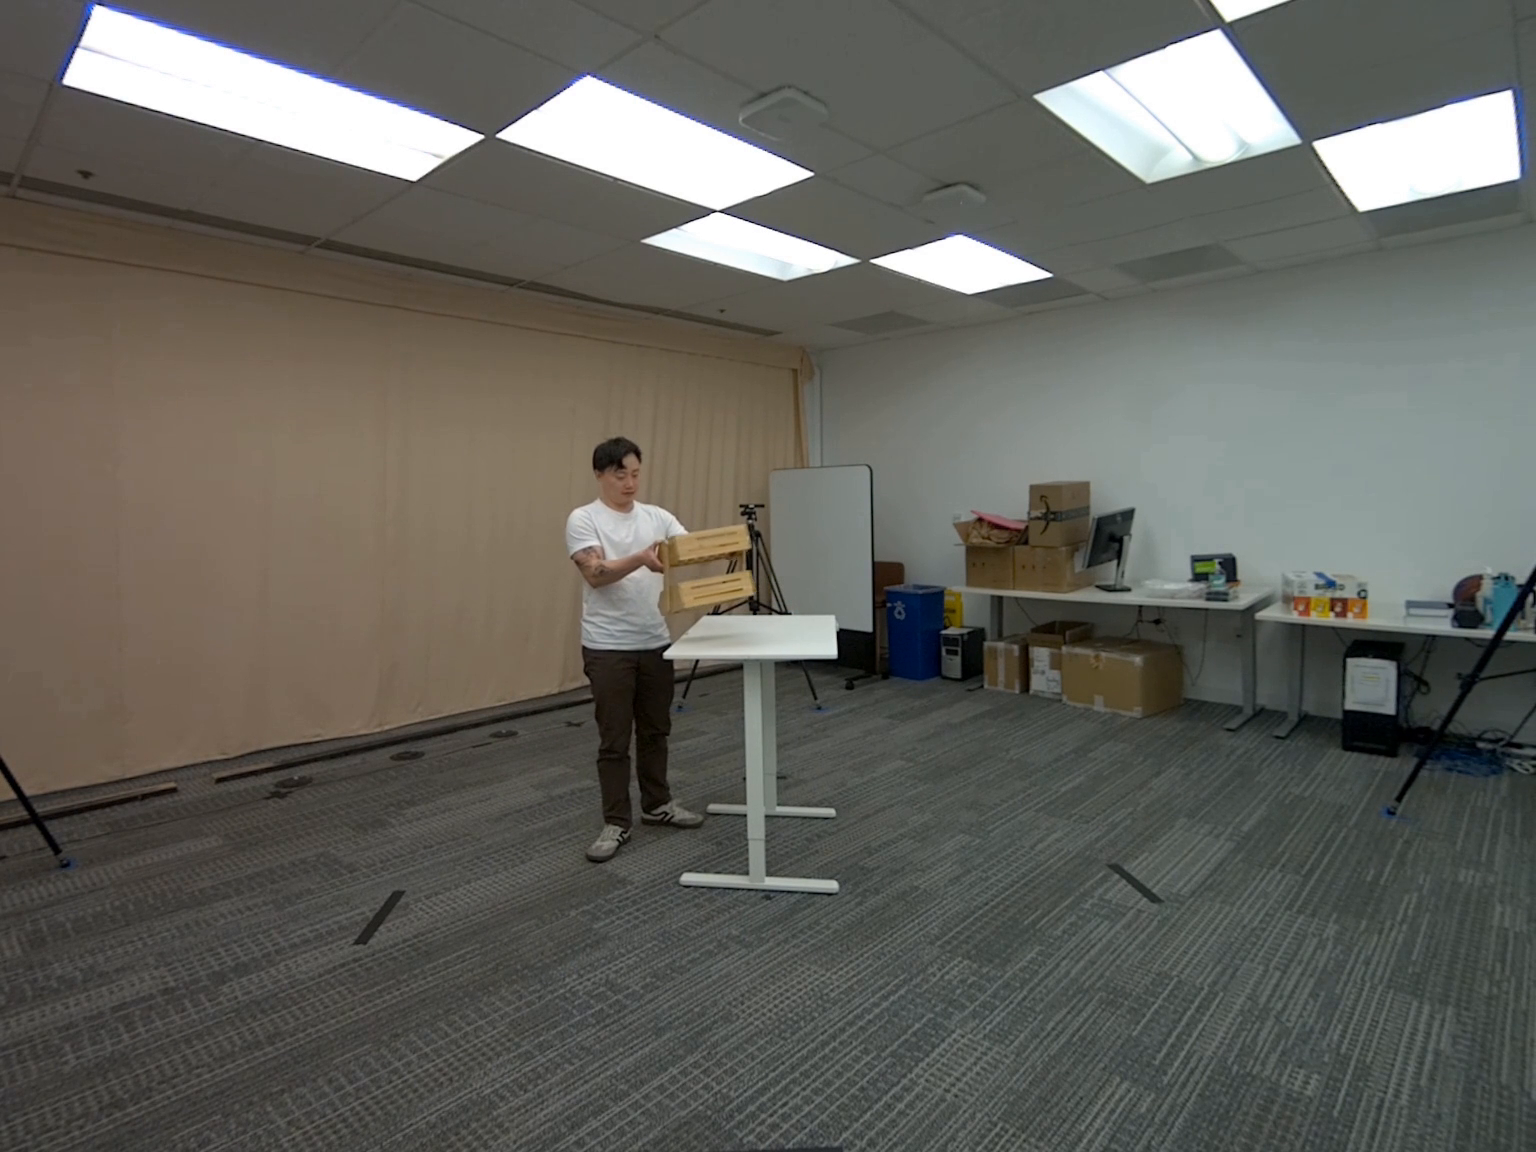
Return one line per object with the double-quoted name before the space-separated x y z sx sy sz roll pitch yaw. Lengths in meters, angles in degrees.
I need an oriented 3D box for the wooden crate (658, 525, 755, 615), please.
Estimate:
"wooden crate" -0.249 -0.021 3.182 0.317 0.275 0.307 -10 -6 -27
